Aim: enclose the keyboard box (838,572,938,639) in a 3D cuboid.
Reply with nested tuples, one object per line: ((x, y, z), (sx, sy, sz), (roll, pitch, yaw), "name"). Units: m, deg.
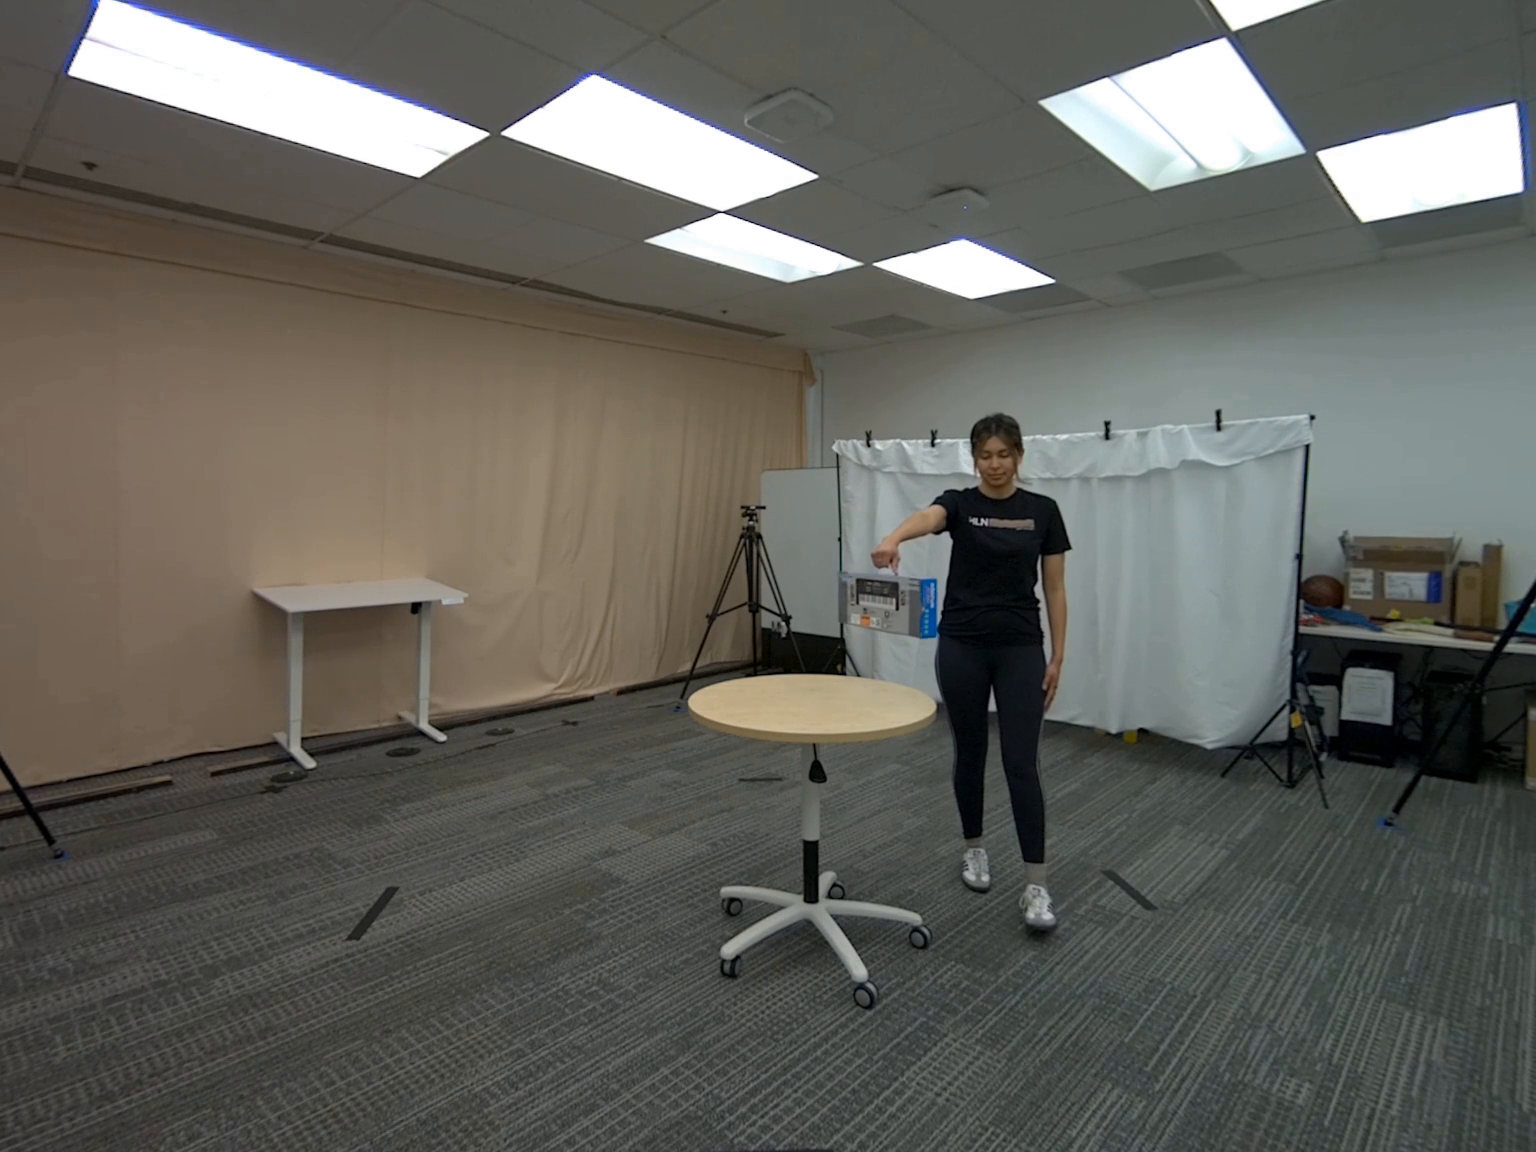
((0.367, 0.083, 2.608), (0.057, 0.176, 0.448), (-1, 3, -27), "keyboard box")
